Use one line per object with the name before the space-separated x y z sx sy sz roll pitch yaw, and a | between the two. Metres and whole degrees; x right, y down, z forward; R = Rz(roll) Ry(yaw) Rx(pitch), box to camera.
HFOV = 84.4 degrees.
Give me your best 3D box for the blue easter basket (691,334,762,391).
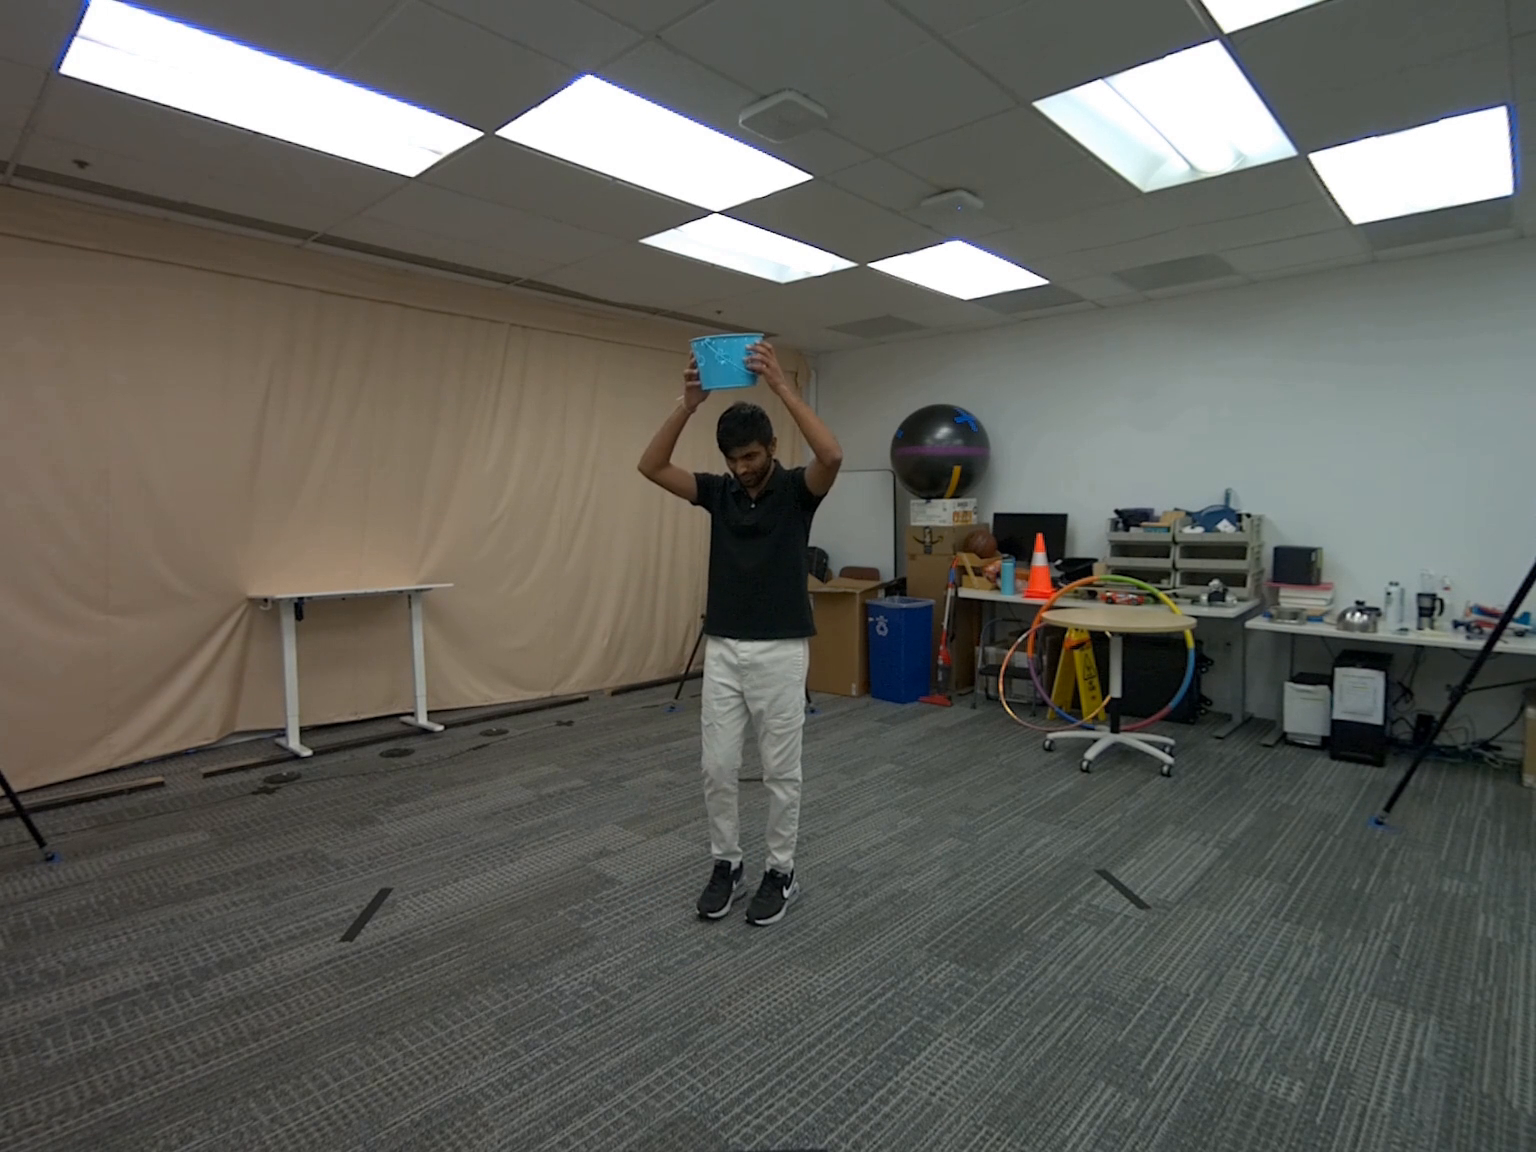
blue easter basket | -0.118 -0.655 2.610 0.243 0.154 0.245 -5 12 -1
